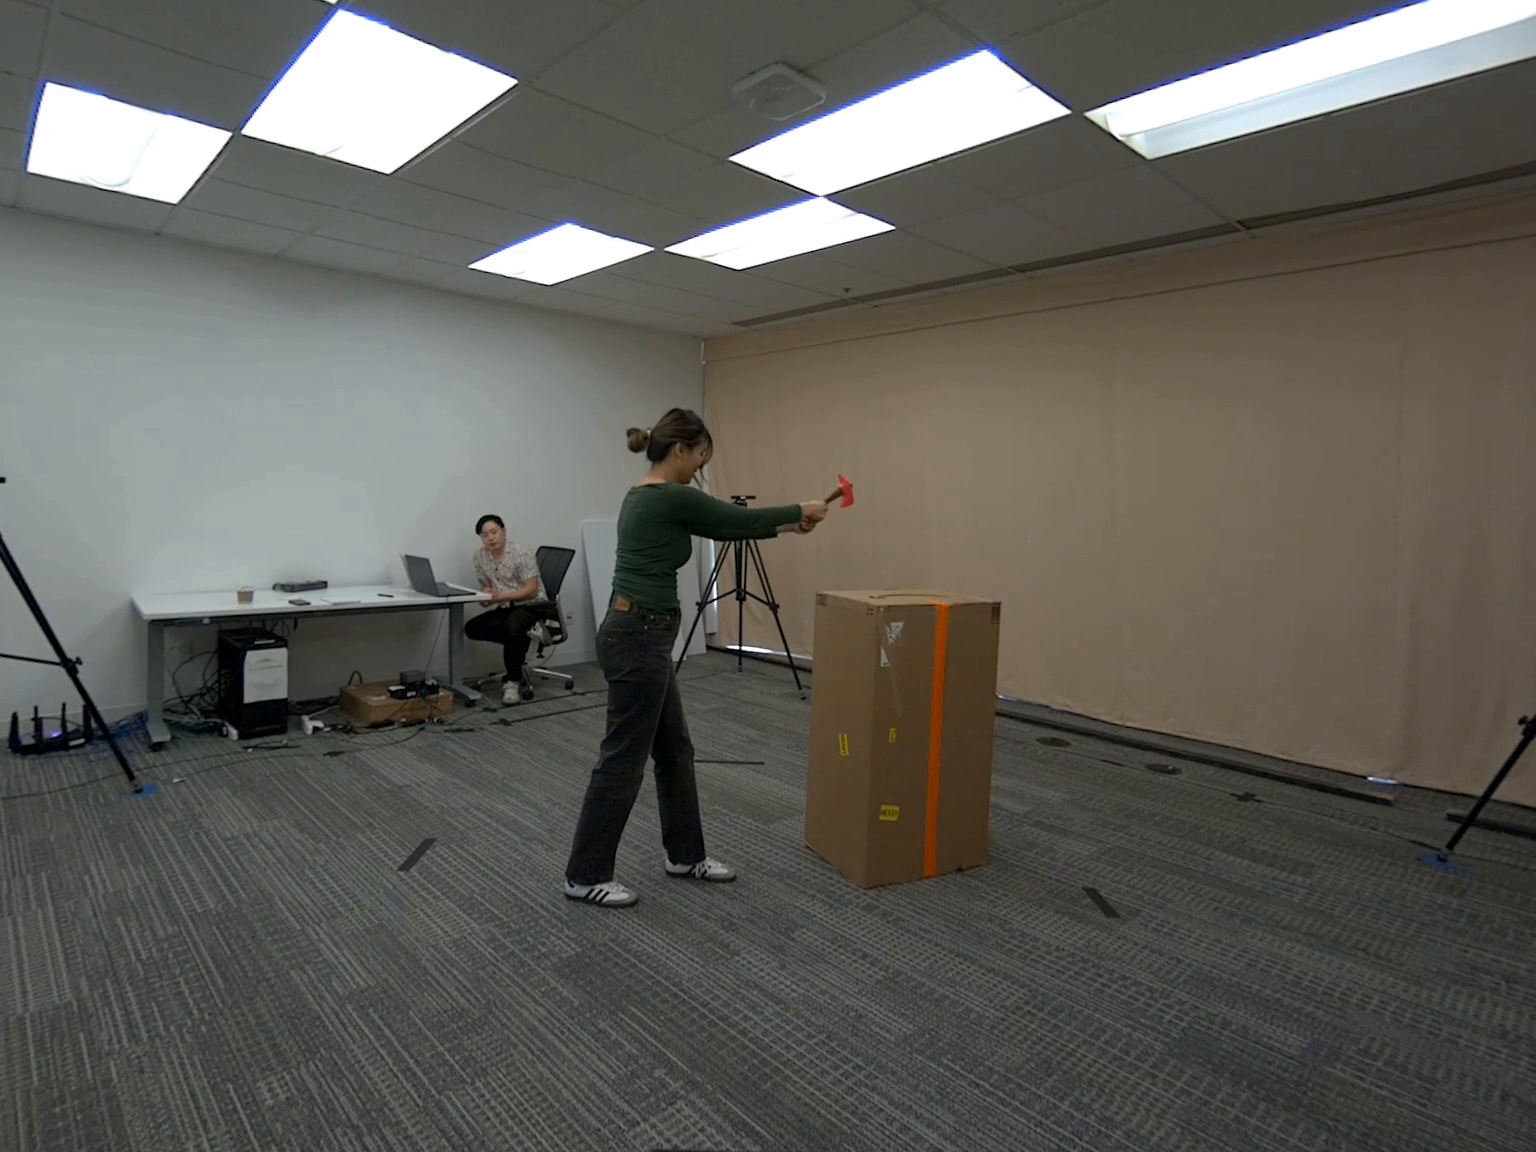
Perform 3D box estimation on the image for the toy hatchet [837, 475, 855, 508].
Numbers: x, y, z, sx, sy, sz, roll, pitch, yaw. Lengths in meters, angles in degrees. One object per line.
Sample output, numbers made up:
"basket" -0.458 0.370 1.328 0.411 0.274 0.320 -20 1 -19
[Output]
"toy hatchet" 0.225 -0.258 3.160 0.128 0.270 0.030 44 -15 -27
